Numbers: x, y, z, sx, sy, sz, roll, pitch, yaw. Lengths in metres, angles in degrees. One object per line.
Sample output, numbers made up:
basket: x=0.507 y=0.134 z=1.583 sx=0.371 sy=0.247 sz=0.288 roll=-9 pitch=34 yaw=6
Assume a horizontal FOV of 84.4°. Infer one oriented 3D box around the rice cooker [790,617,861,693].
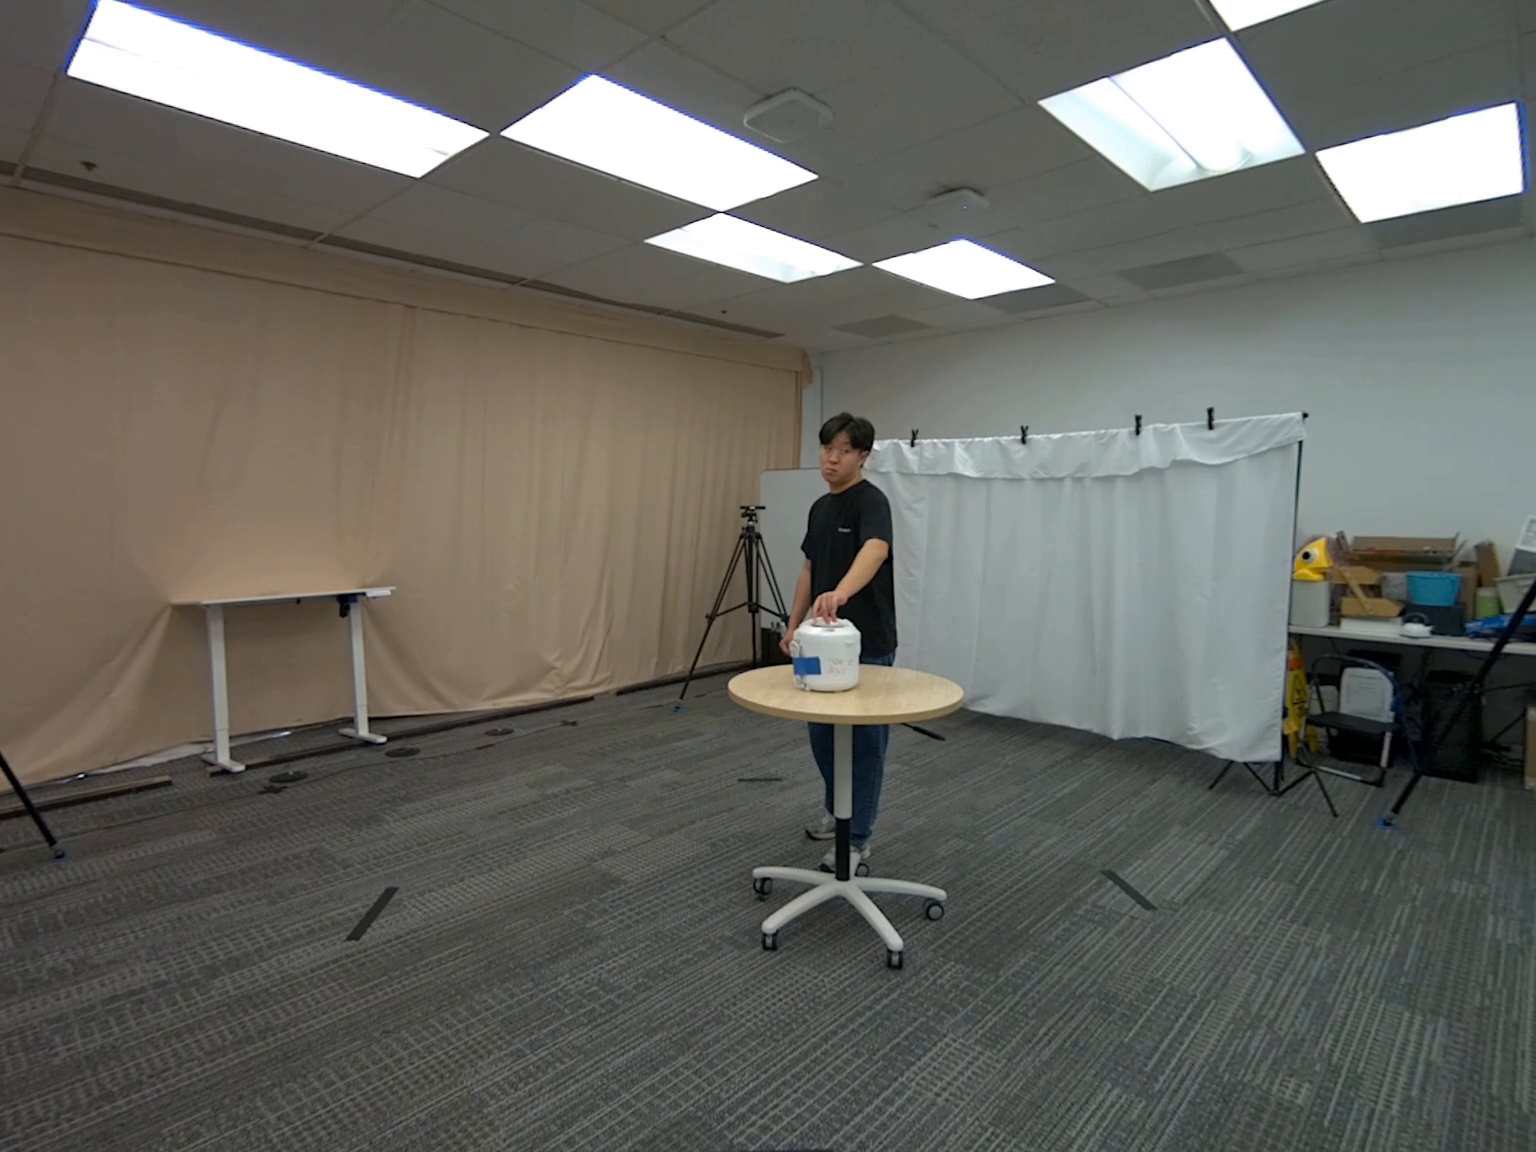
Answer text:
rice cooker: x=0.197 y=0.250 z=2.764 sx=0.224 sy=0.232 sz=0.214 roll=2 pitch=5 yaw=15
